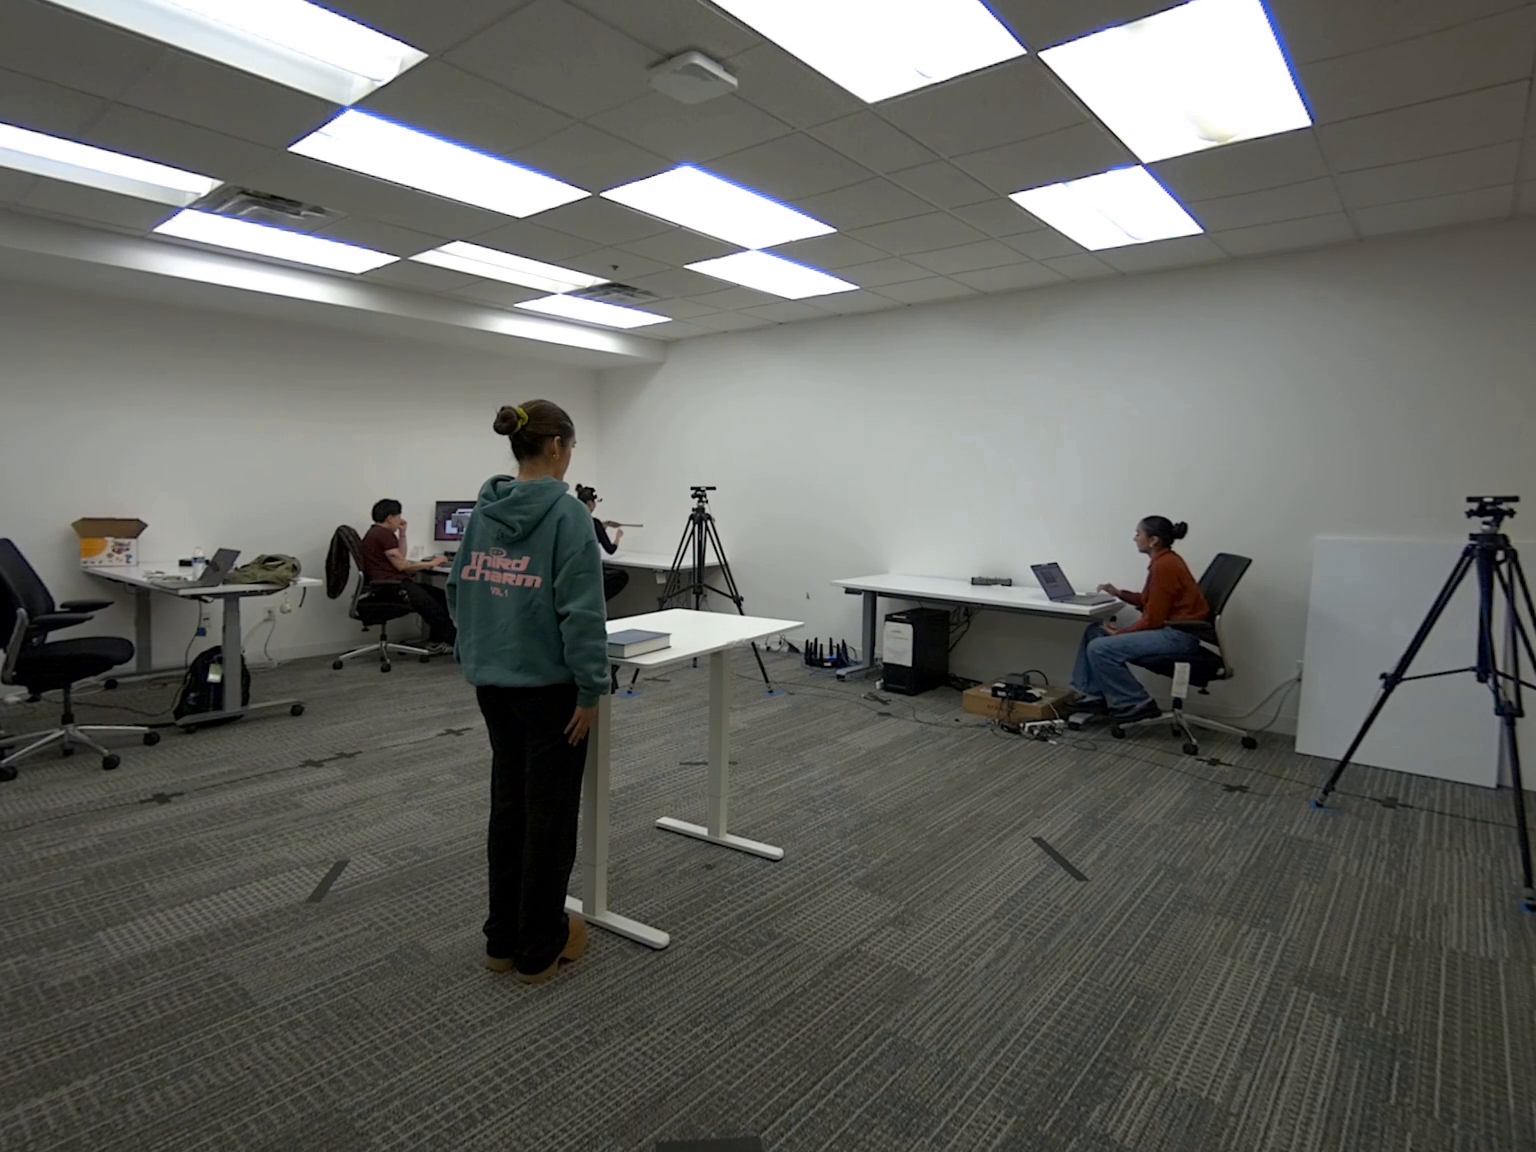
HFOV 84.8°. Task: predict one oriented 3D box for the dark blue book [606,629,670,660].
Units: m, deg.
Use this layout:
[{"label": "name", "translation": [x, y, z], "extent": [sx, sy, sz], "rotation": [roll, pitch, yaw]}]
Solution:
[{"label": "dark blue book", "translation": [-0.443, 0.208, 2.615], "extent": [0.168, 0.045, 0.239], "rotation": [3, 6, 26]}]
